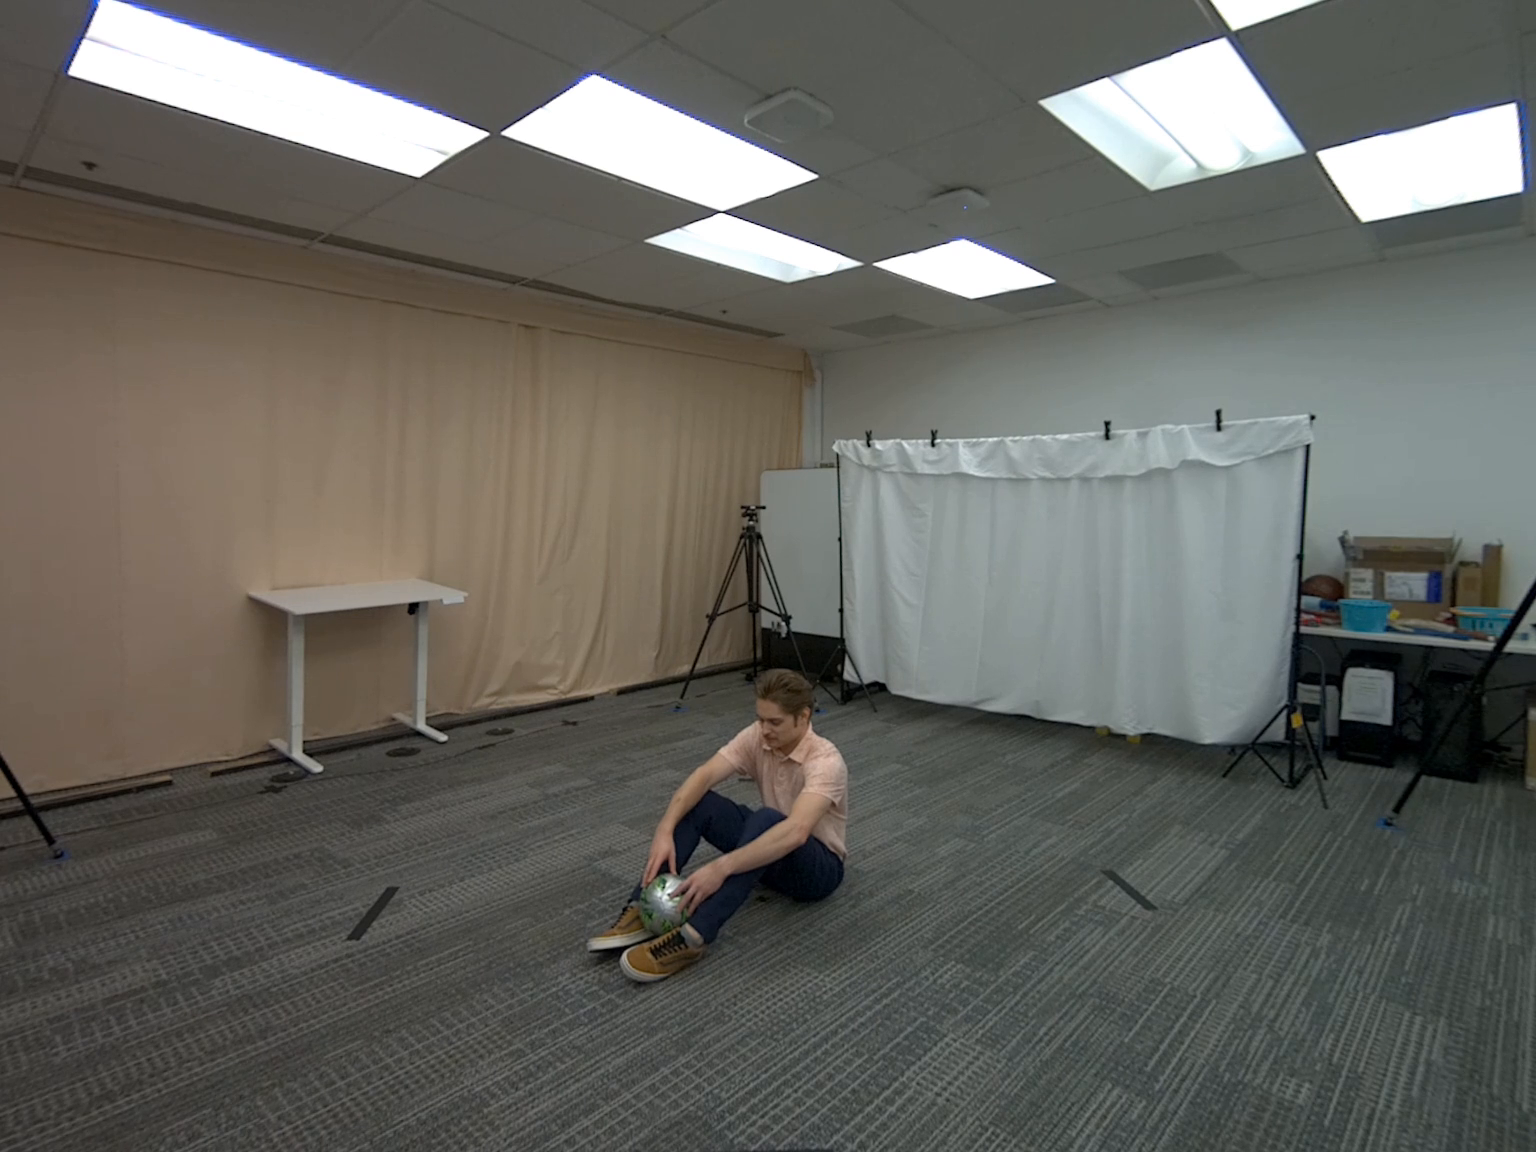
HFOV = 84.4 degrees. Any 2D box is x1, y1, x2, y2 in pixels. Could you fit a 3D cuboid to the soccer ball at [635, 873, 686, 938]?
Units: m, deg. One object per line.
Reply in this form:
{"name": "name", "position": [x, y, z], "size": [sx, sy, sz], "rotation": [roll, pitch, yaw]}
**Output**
{"name": "soccer ball", "position": [-0.308, 1.035, 2.650], "size": [0.187, 0.187, 0.188], "rotation": [0, 4, -2]}
